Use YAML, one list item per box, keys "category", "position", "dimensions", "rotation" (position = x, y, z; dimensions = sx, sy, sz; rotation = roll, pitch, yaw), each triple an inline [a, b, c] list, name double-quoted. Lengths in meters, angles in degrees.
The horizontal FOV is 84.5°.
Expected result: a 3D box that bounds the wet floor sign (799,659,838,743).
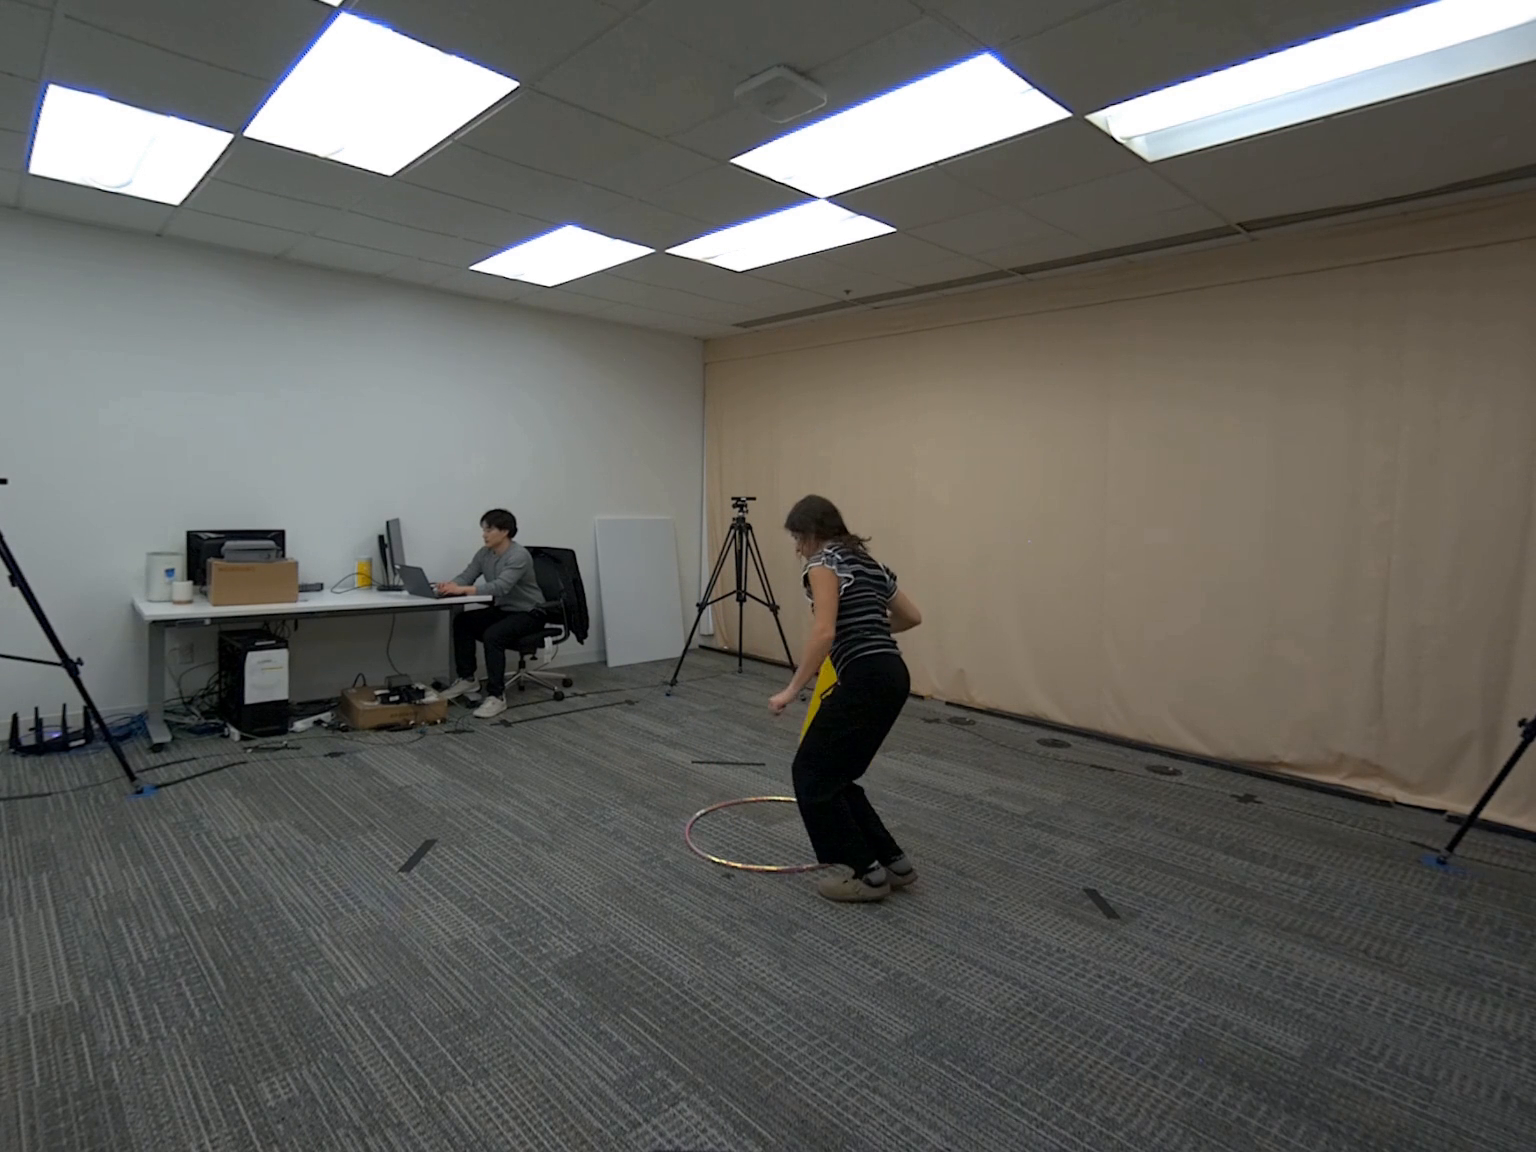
- category: "wet floor sign"
  position: [0.327, 0.473, 3.547]
  dimensions: [0.286, 0.635, 0.291]
  rotation: [-21, 38, -37]
